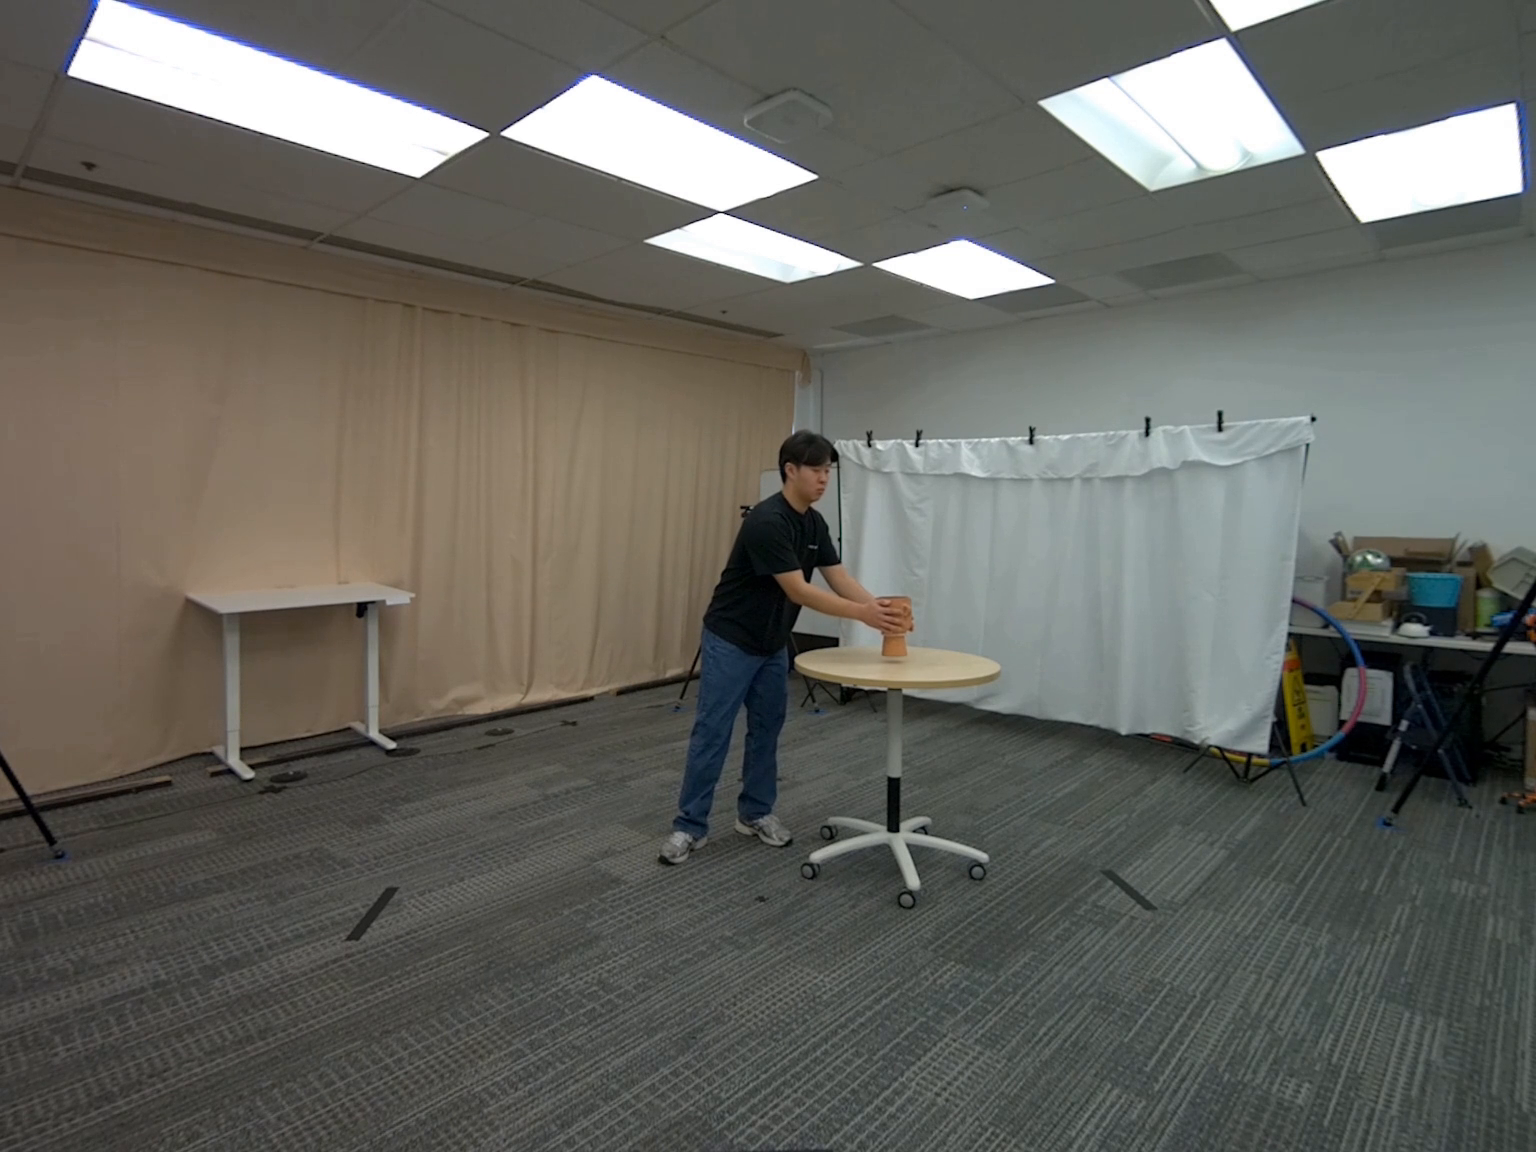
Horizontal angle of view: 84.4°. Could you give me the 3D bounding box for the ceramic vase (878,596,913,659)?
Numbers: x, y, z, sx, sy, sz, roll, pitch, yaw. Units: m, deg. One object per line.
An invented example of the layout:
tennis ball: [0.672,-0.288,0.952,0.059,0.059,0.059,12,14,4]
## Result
ceramic vase: [0.483,0.193,3.195,0.135,0.220,0.158,-2,0,5]
